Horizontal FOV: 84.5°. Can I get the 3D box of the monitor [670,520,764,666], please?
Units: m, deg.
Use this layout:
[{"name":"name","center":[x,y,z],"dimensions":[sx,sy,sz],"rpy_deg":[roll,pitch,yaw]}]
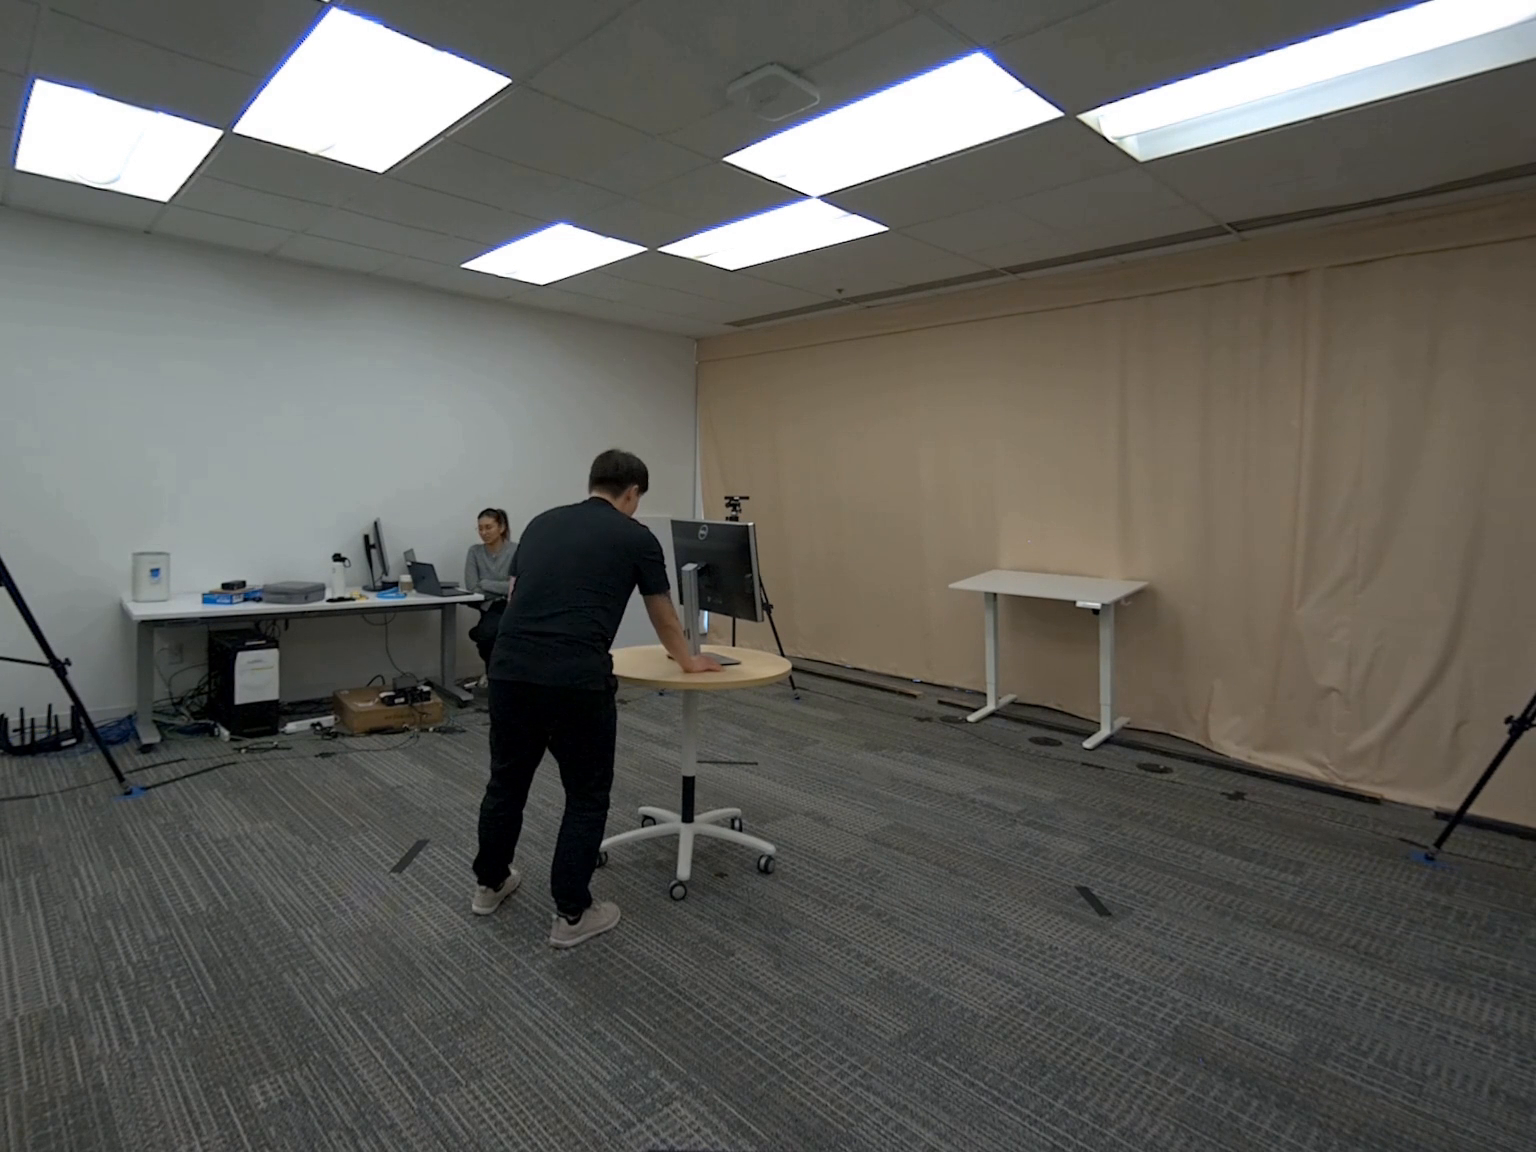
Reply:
[{"name":"monitor","center":[-0.247,0.063,3.220],"dimensions":[0.183,0.521,0.552],"rpy_deg":[1,4,-37]}]
